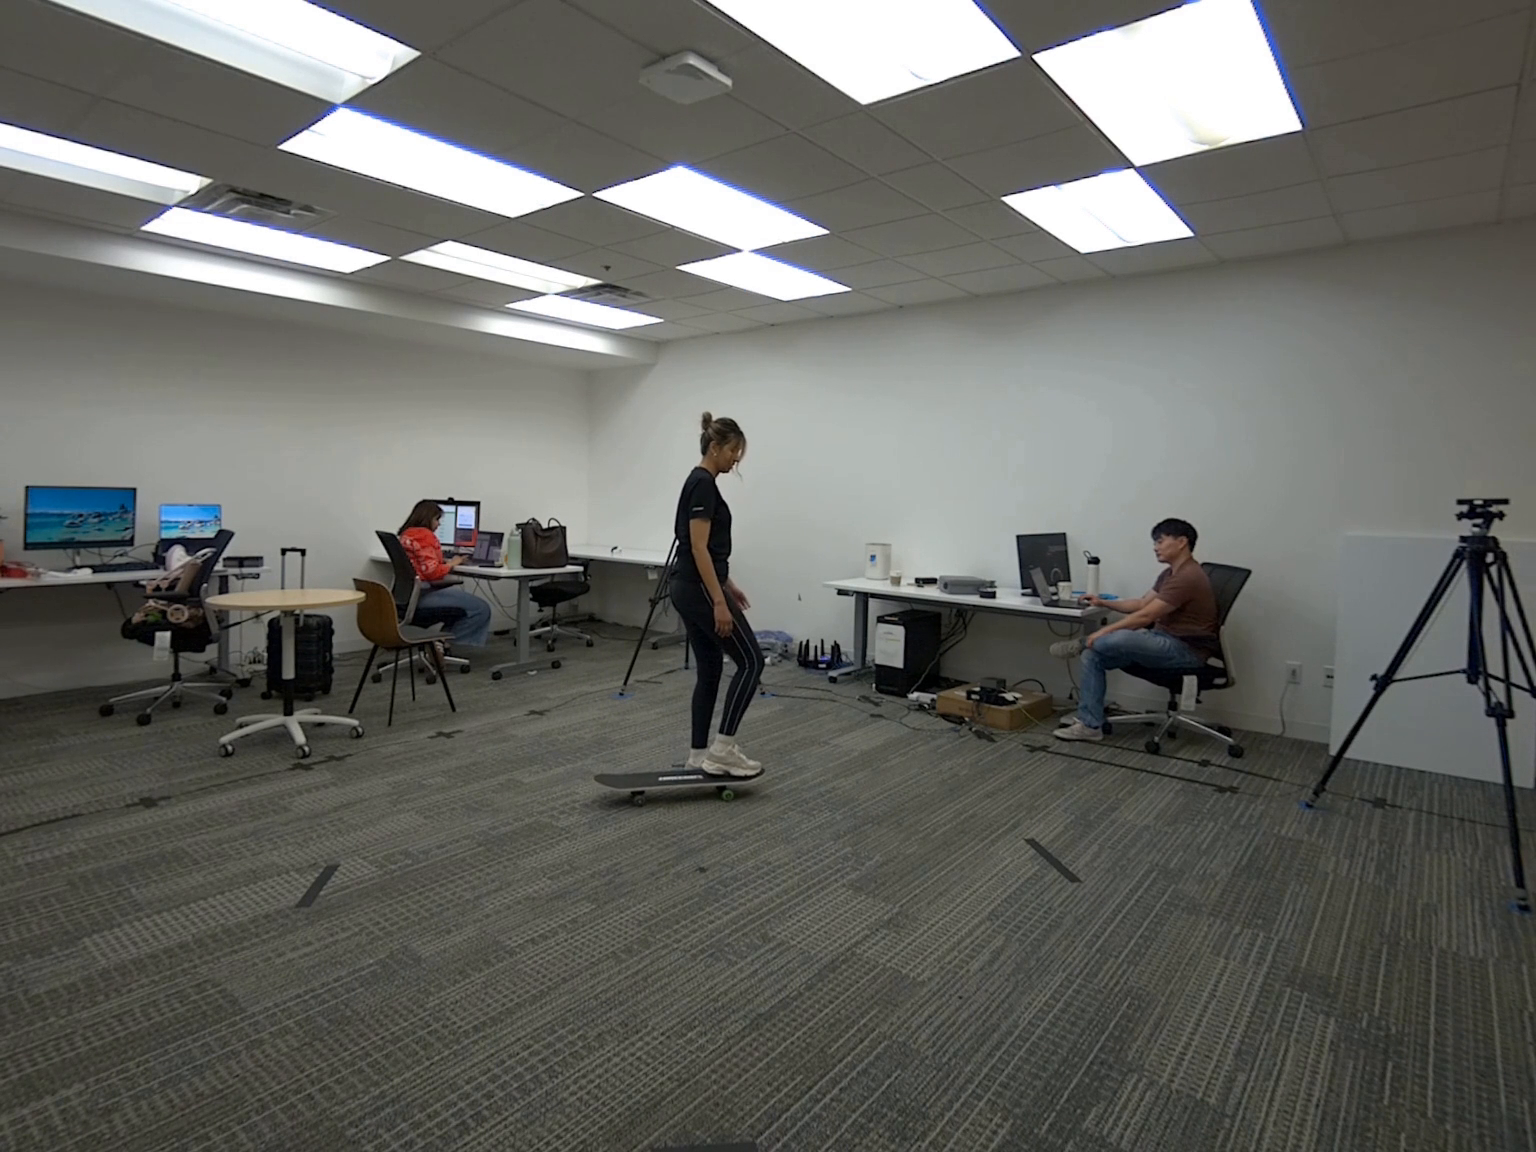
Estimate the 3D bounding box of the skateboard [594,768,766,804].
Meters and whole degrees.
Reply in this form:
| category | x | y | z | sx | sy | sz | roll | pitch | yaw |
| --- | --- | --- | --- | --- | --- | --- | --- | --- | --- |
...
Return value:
| category | x | y | z | sx | sy | sz | roll | pitch | yaw |
| --- | --- | --- | --- | --- | --- | --- | --- | --- | --- |
| skateboard | -0.404 | 0.940 | 3.843 | 0.775 | 0.110 | 0.197 | 0 | 5 | -12 |
